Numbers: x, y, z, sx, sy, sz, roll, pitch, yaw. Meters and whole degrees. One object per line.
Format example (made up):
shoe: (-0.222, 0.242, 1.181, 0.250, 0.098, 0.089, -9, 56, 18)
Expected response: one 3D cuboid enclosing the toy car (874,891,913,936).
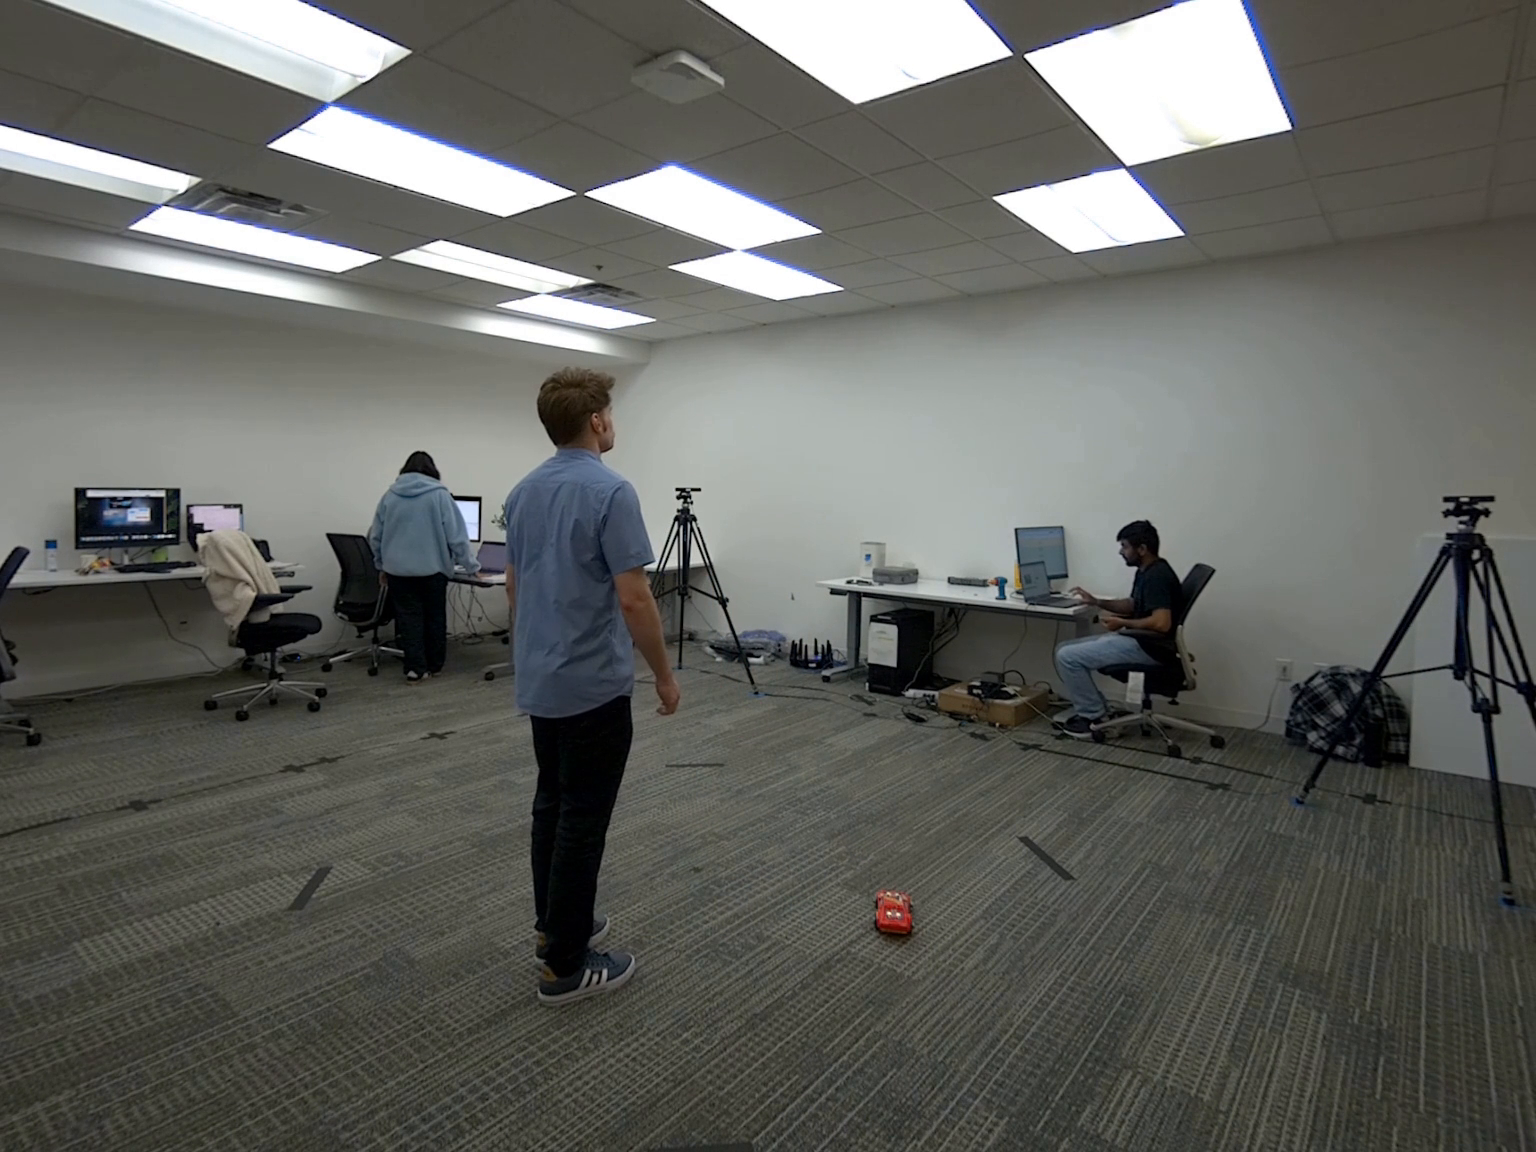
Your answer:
toy car: (0.402, 1.085, 2.743, 0.132, 0.084, 0.250, 2, -5, 8)
